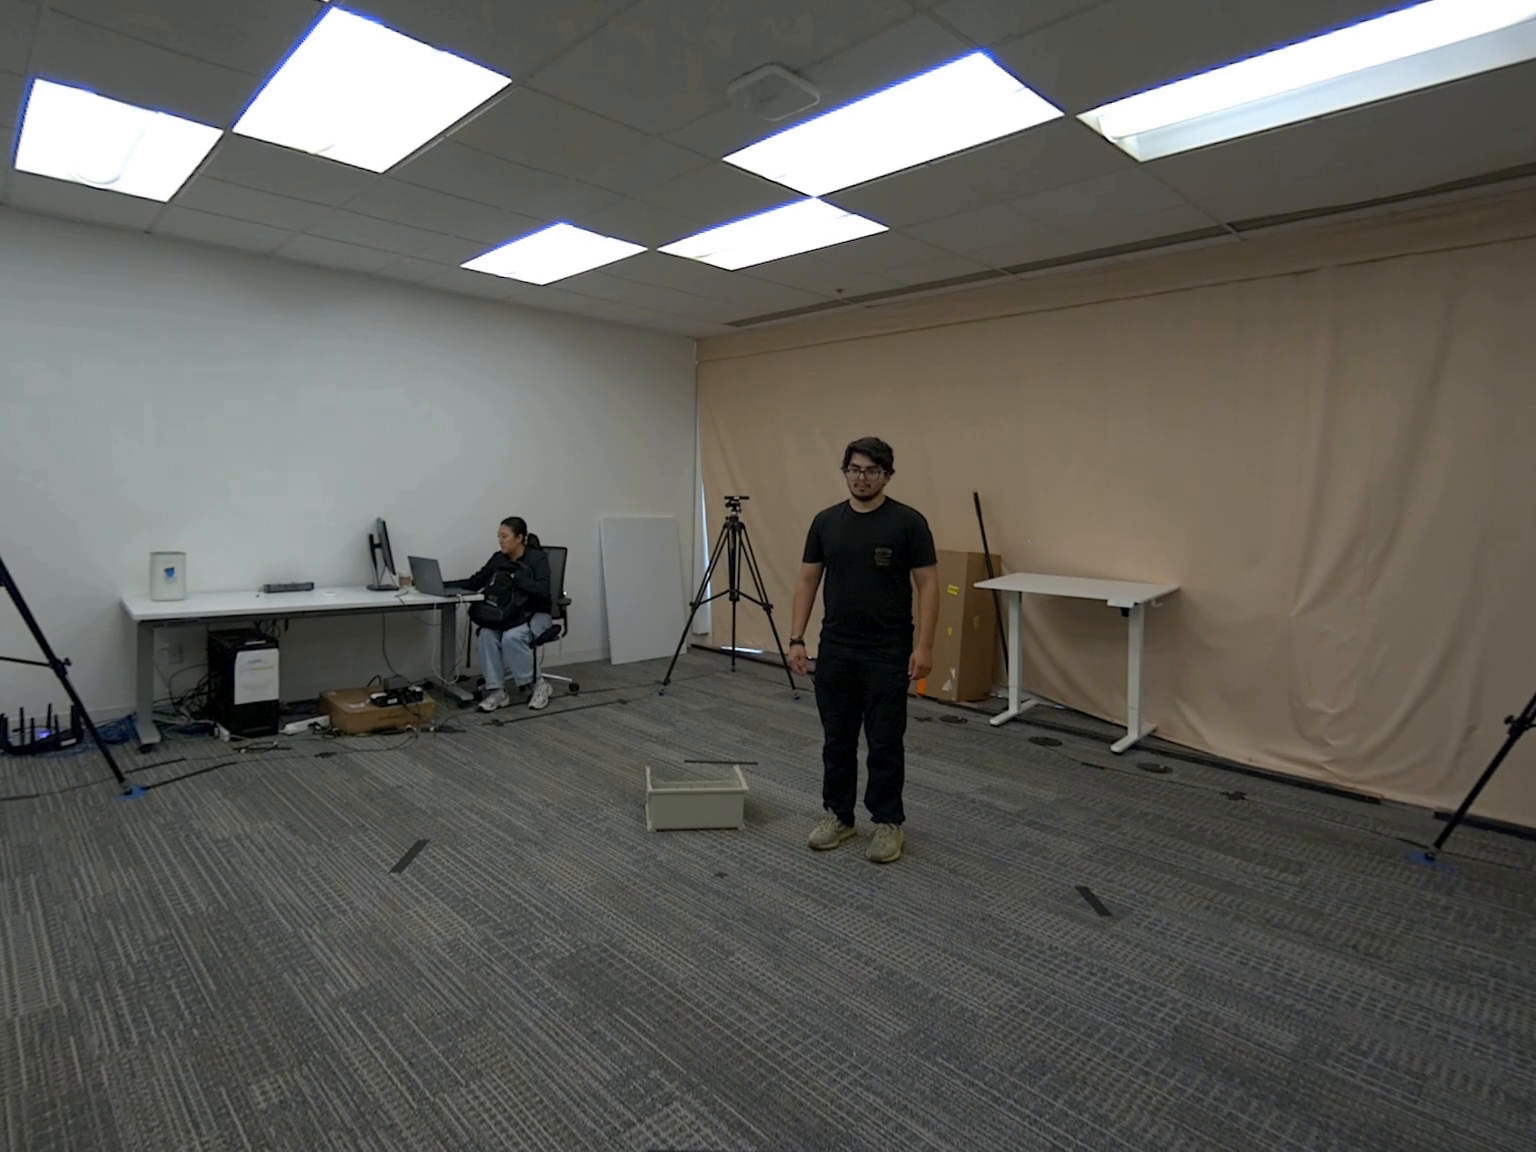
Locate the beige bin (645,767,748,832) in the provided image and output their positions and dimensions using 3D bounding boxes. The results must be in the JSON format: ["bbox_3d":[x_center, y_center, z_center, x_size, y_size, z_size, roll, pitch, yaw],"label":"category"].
[{"bbox_3d":[-0.332,0.957,3.692,0.420,0.188,0.381,1,6,-8],"label":"beige bin"}]
